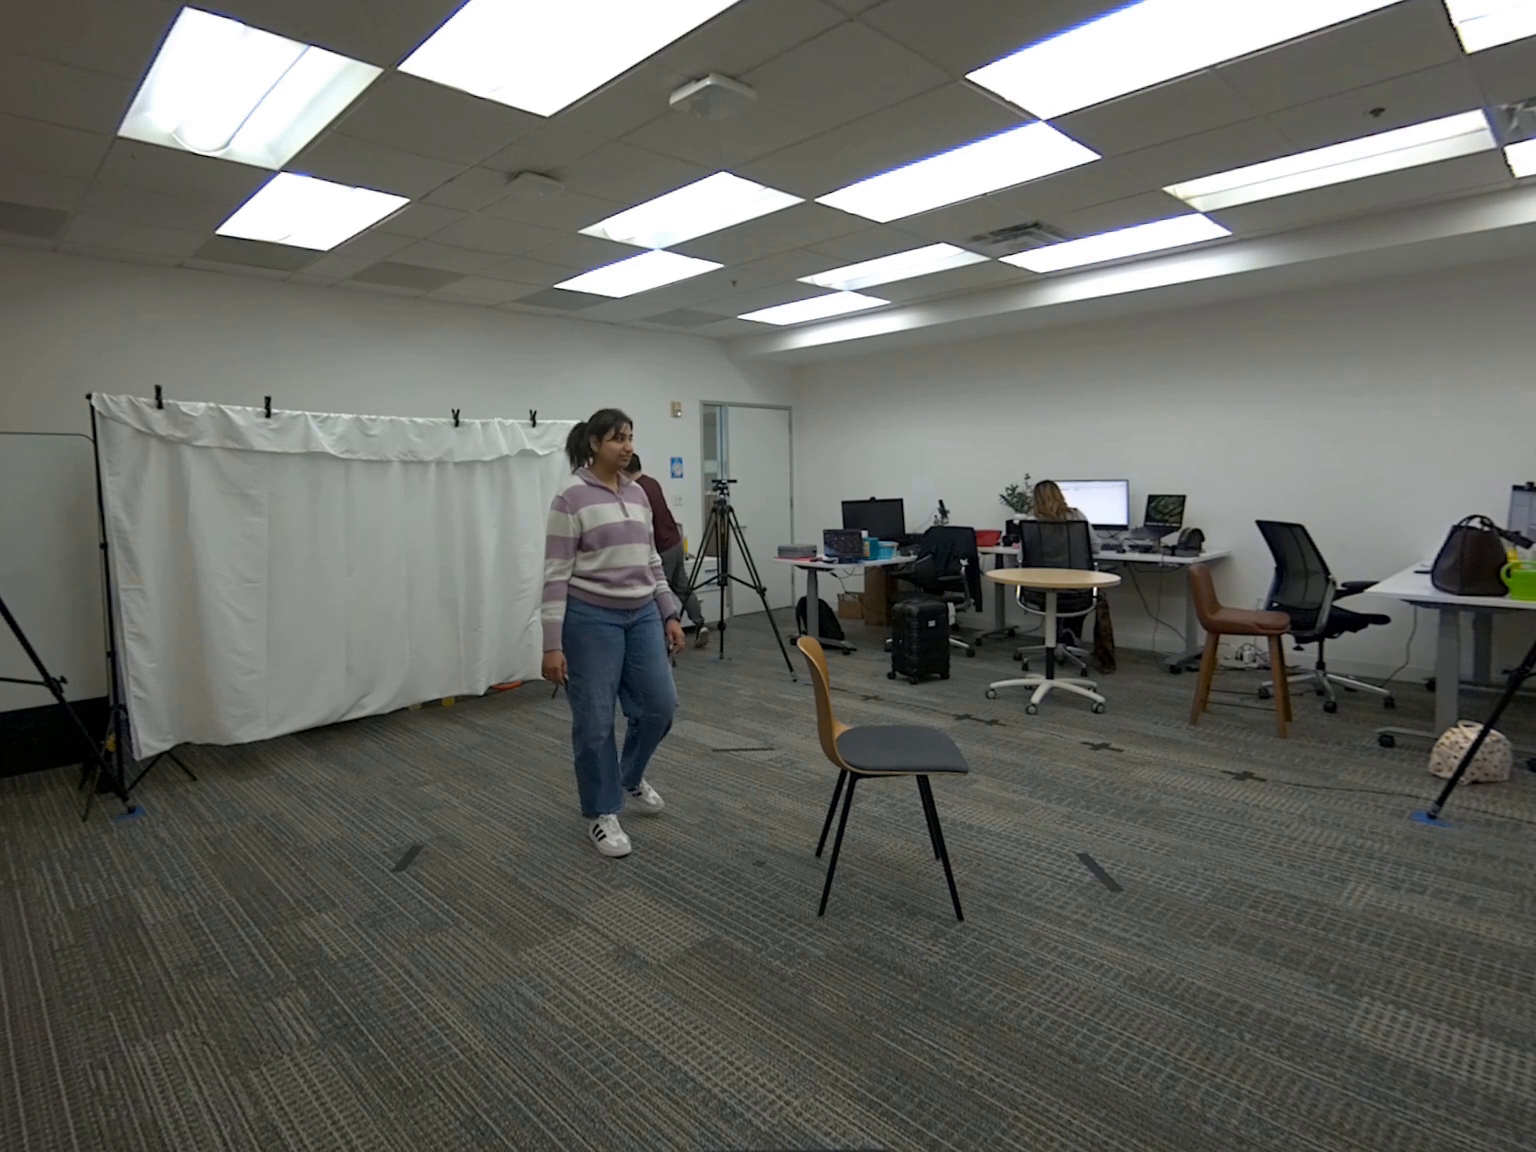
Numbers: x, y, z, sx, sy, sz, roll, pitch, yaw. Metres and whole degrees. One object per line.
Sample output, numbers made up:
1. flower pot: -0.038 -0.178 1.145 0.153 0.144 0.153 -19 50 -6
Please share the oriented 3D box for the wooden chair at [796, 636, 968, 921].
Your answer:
1. wooden chair: 0.395 0.636 2.899 0.525 0.875 0.478 -4 3 3
